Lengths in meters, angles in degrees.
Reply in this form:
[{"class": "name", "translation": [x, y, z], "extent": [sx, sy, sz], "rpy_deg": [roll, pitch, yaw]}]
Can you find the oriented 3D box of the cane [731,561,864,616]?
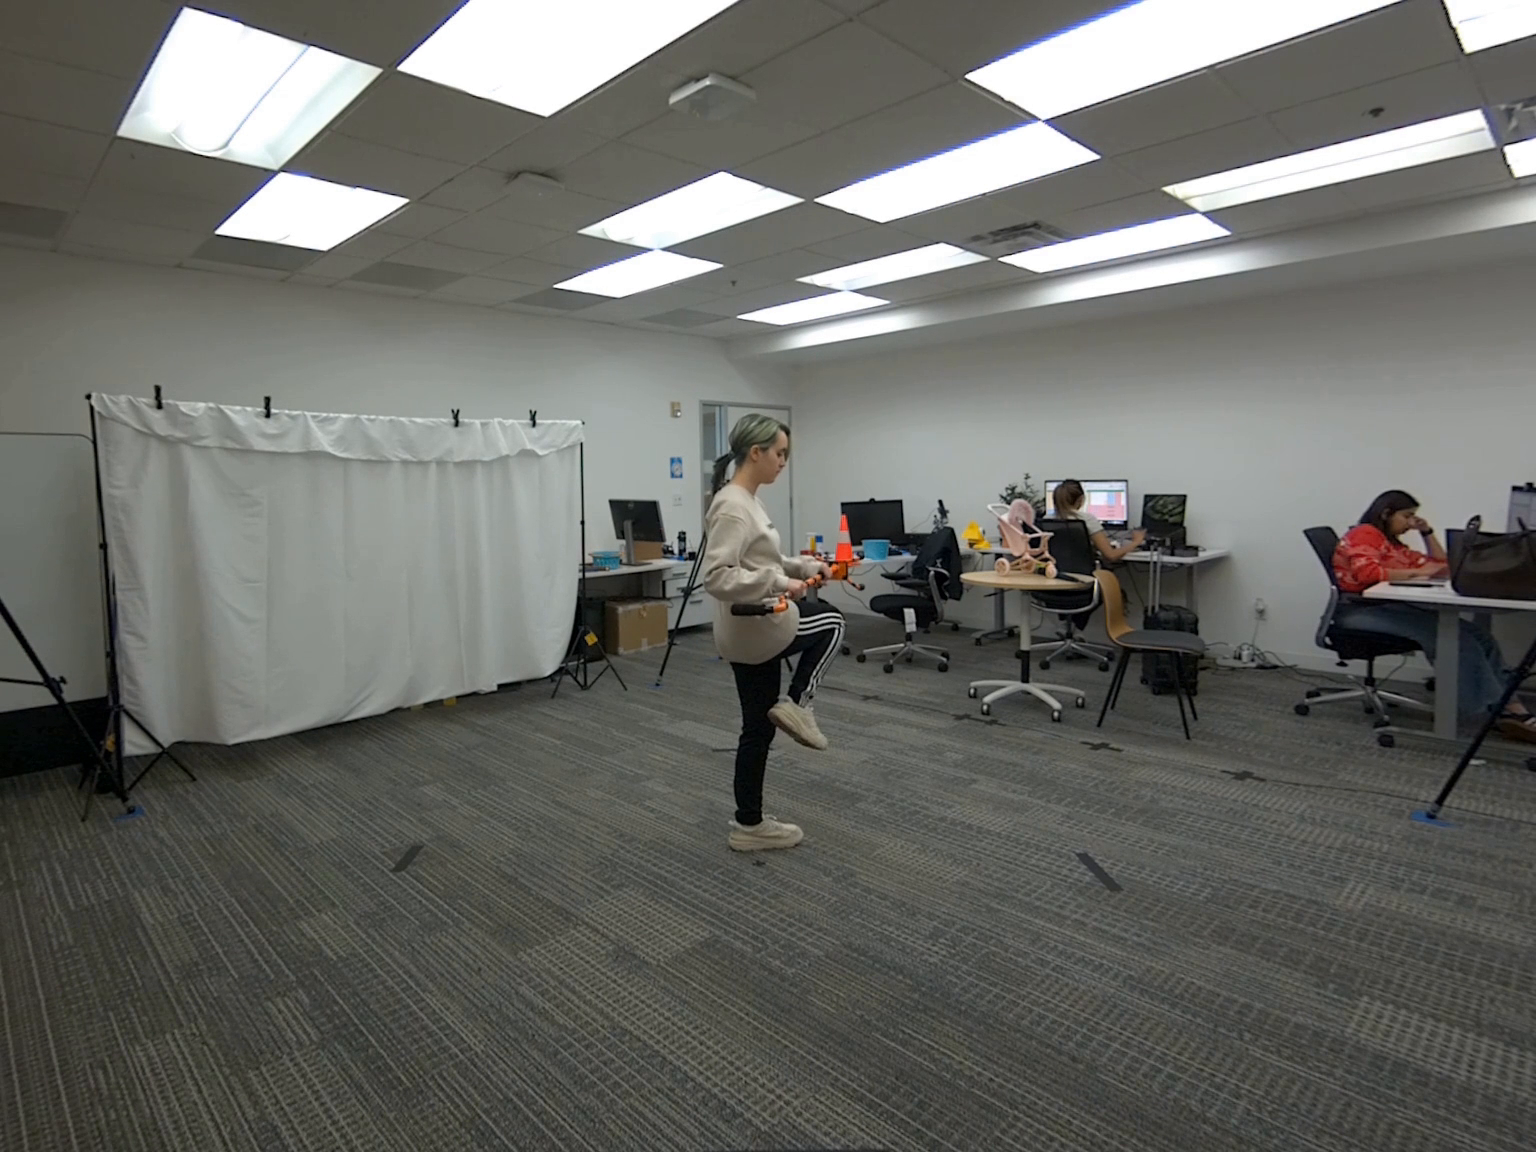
[{"class": "cane", "translation": [0.146, 0.050, 3.010], "extent": [0.211, 0.150, 0.895], "rpy_deg": [2, 9, 22]}]
